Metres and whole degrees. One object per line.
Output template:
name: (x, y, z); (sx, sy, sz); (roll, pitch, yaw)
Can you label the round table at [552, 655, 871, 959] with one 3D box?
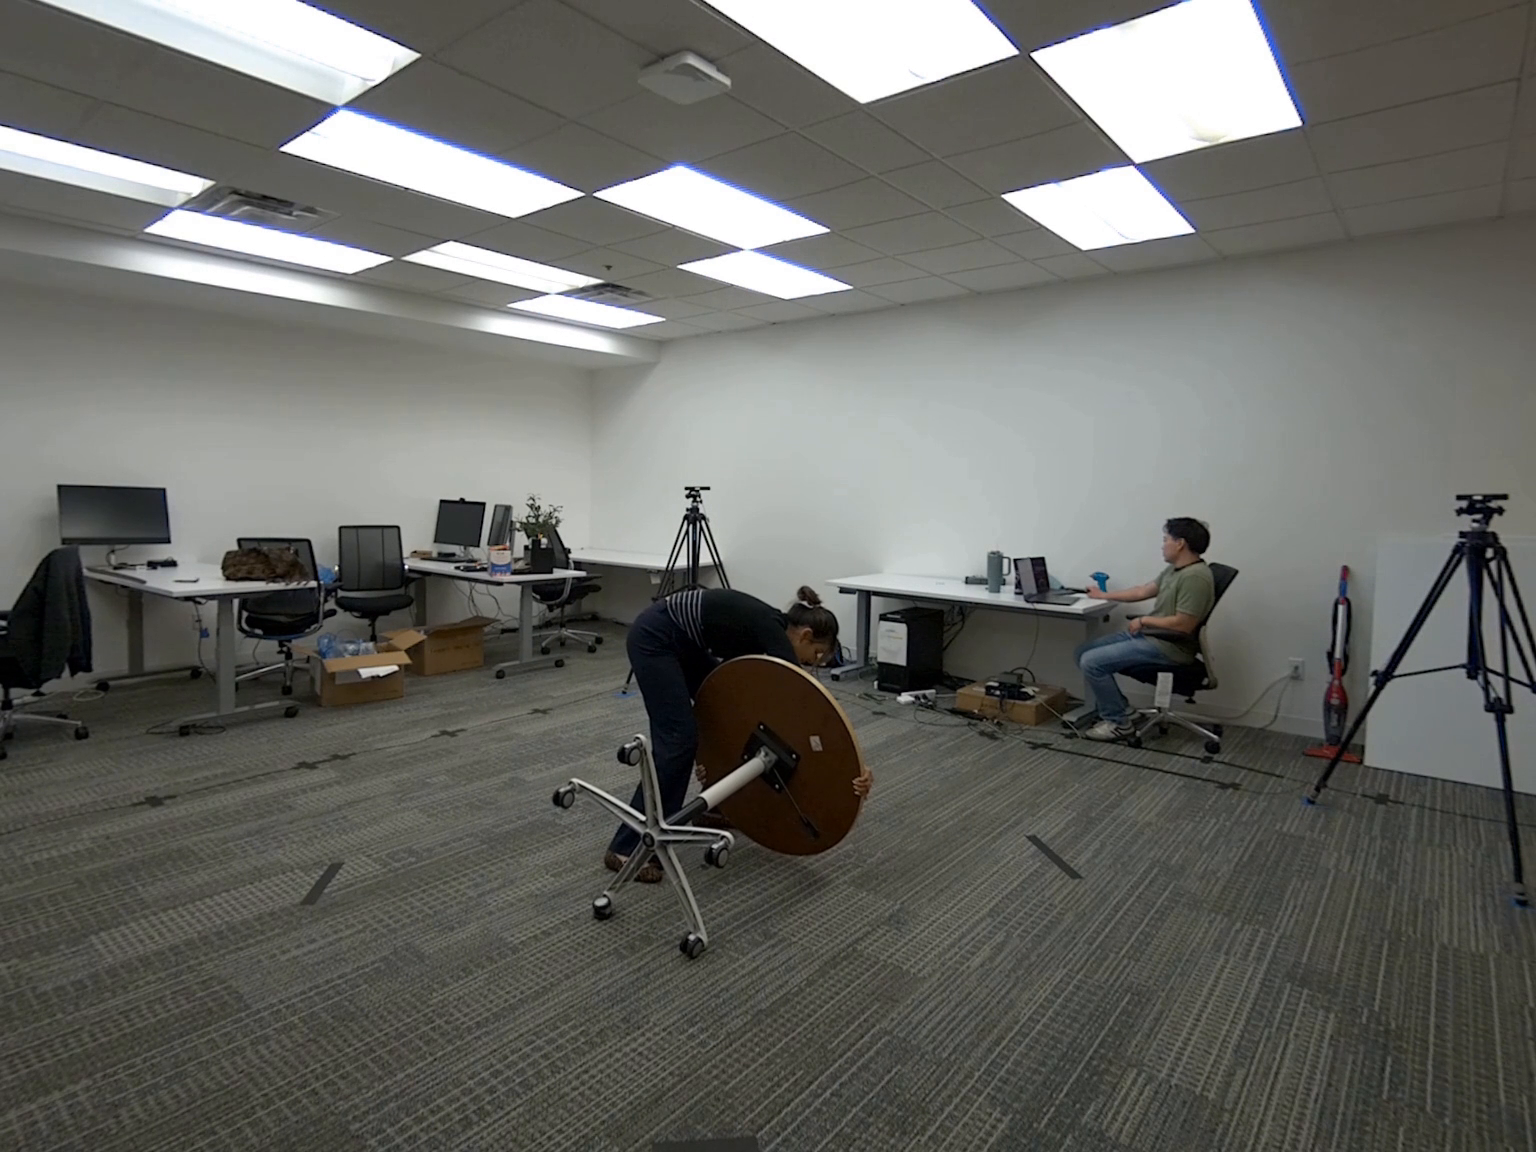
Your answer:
round table: (-0.210, 0.753, 2.875); (0.789, 0.756, 0.777); (4, 13, 36)
